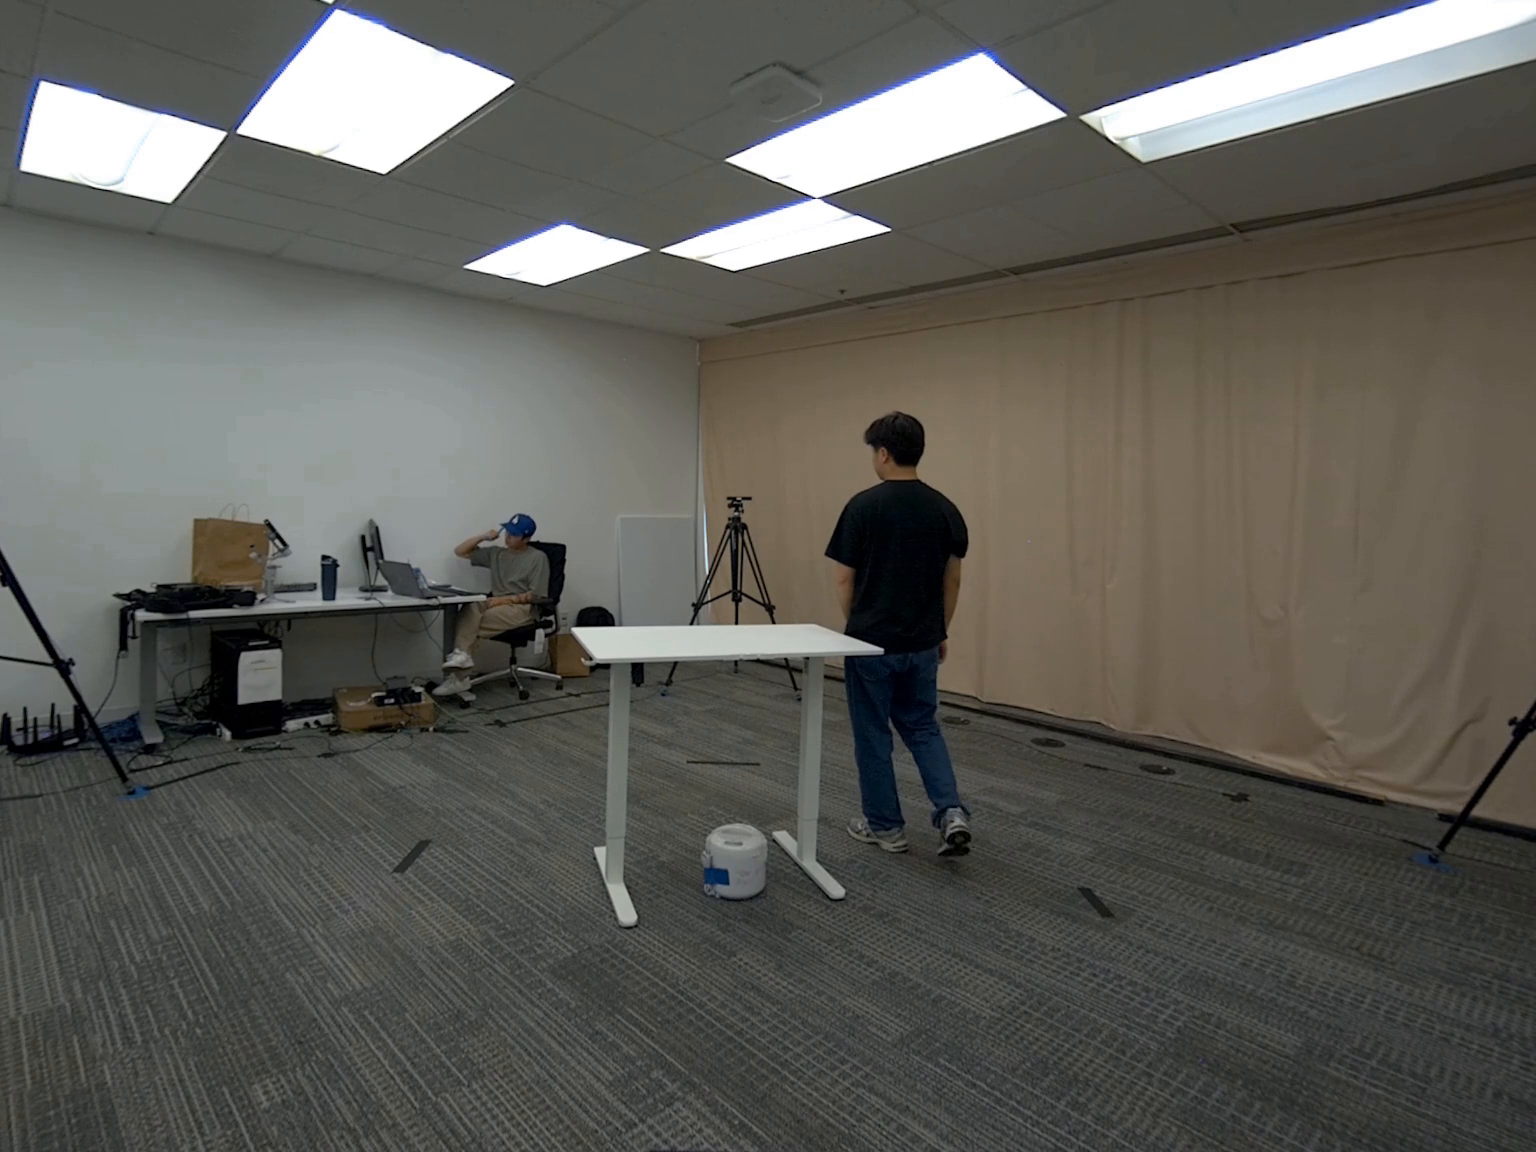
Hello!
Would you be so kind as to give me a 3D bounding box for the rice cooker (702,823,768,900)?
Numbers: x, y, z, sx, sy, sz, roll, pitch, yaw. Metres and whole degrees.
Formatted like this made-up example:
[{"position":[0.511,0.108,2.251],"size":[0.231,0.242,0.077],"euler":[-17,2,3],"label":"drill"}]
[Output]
[{"position":[-0.115,1.002,2.991],"size":[0.223,0.232,0.216],"euler":[2,5,12],"label":"rice cooker"}]
